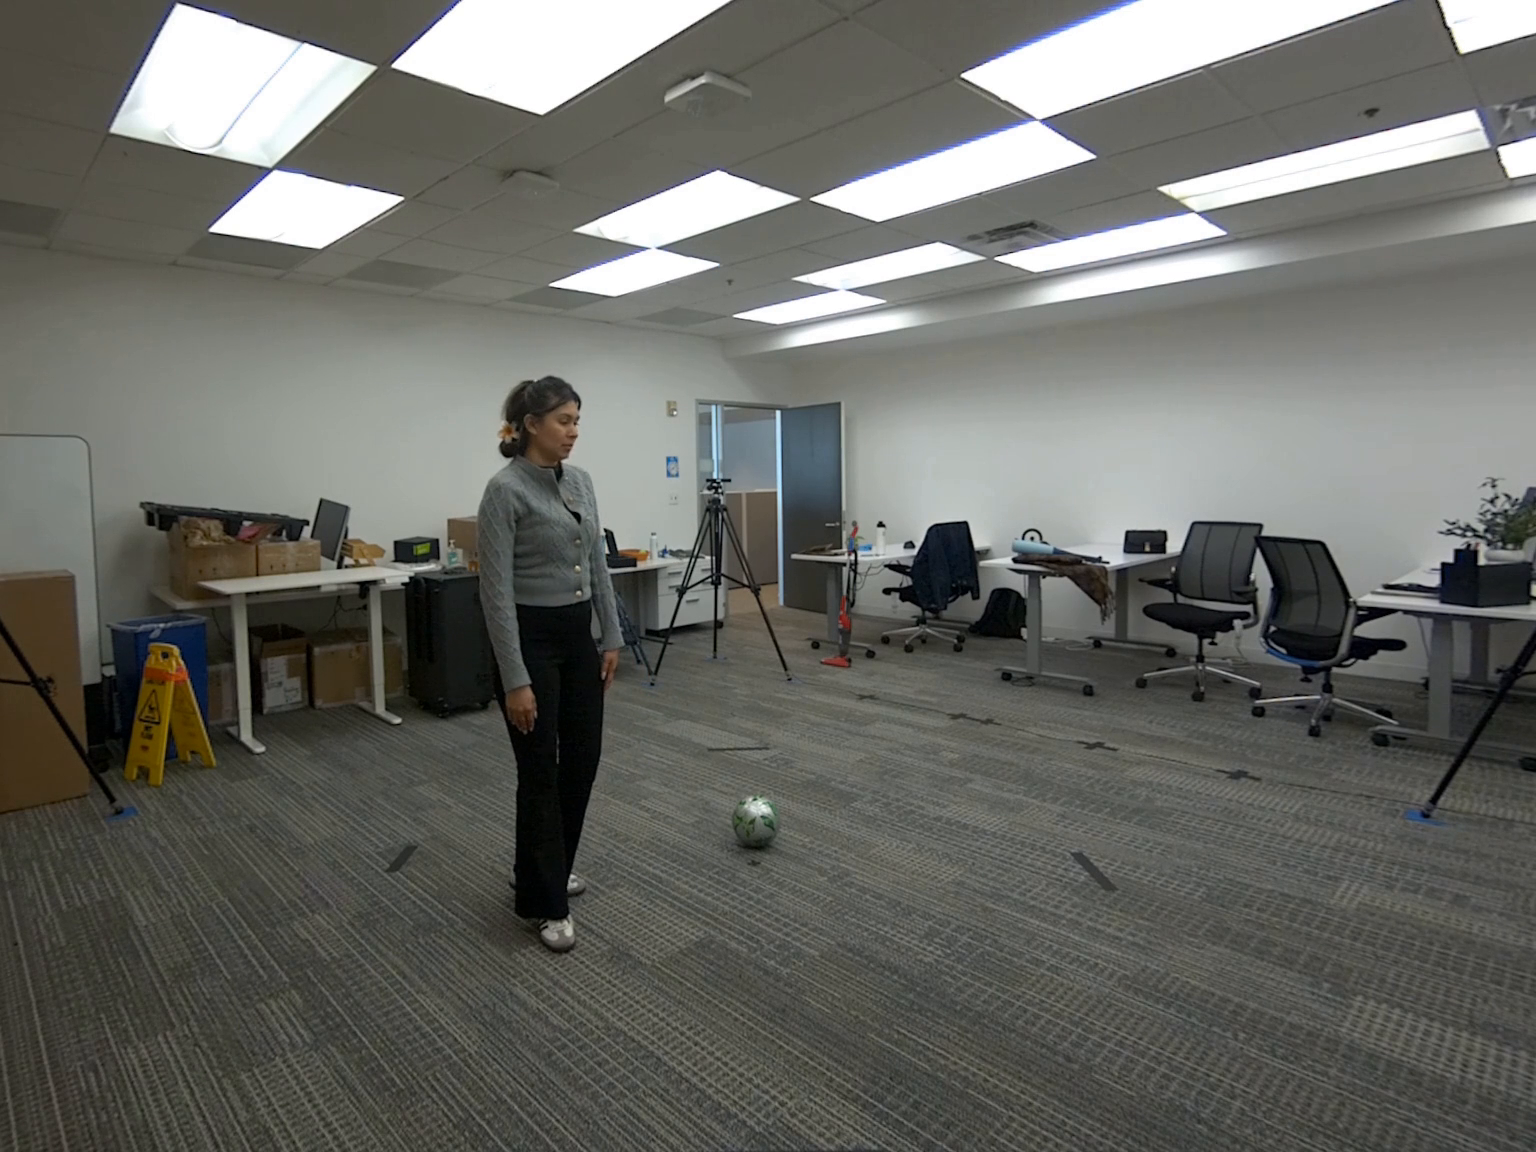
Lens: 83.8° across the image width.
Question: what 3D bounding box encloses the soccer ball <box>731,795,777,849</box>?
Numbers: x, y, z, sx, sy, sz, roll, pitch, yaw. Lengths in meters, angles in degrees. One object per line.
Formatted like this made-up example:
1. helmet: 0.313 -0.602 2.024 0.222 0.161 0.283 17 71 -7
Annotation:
1. soccer ball: -0.045 0.935 3.255 0.187 0.187 0.188 -1 5 -2
